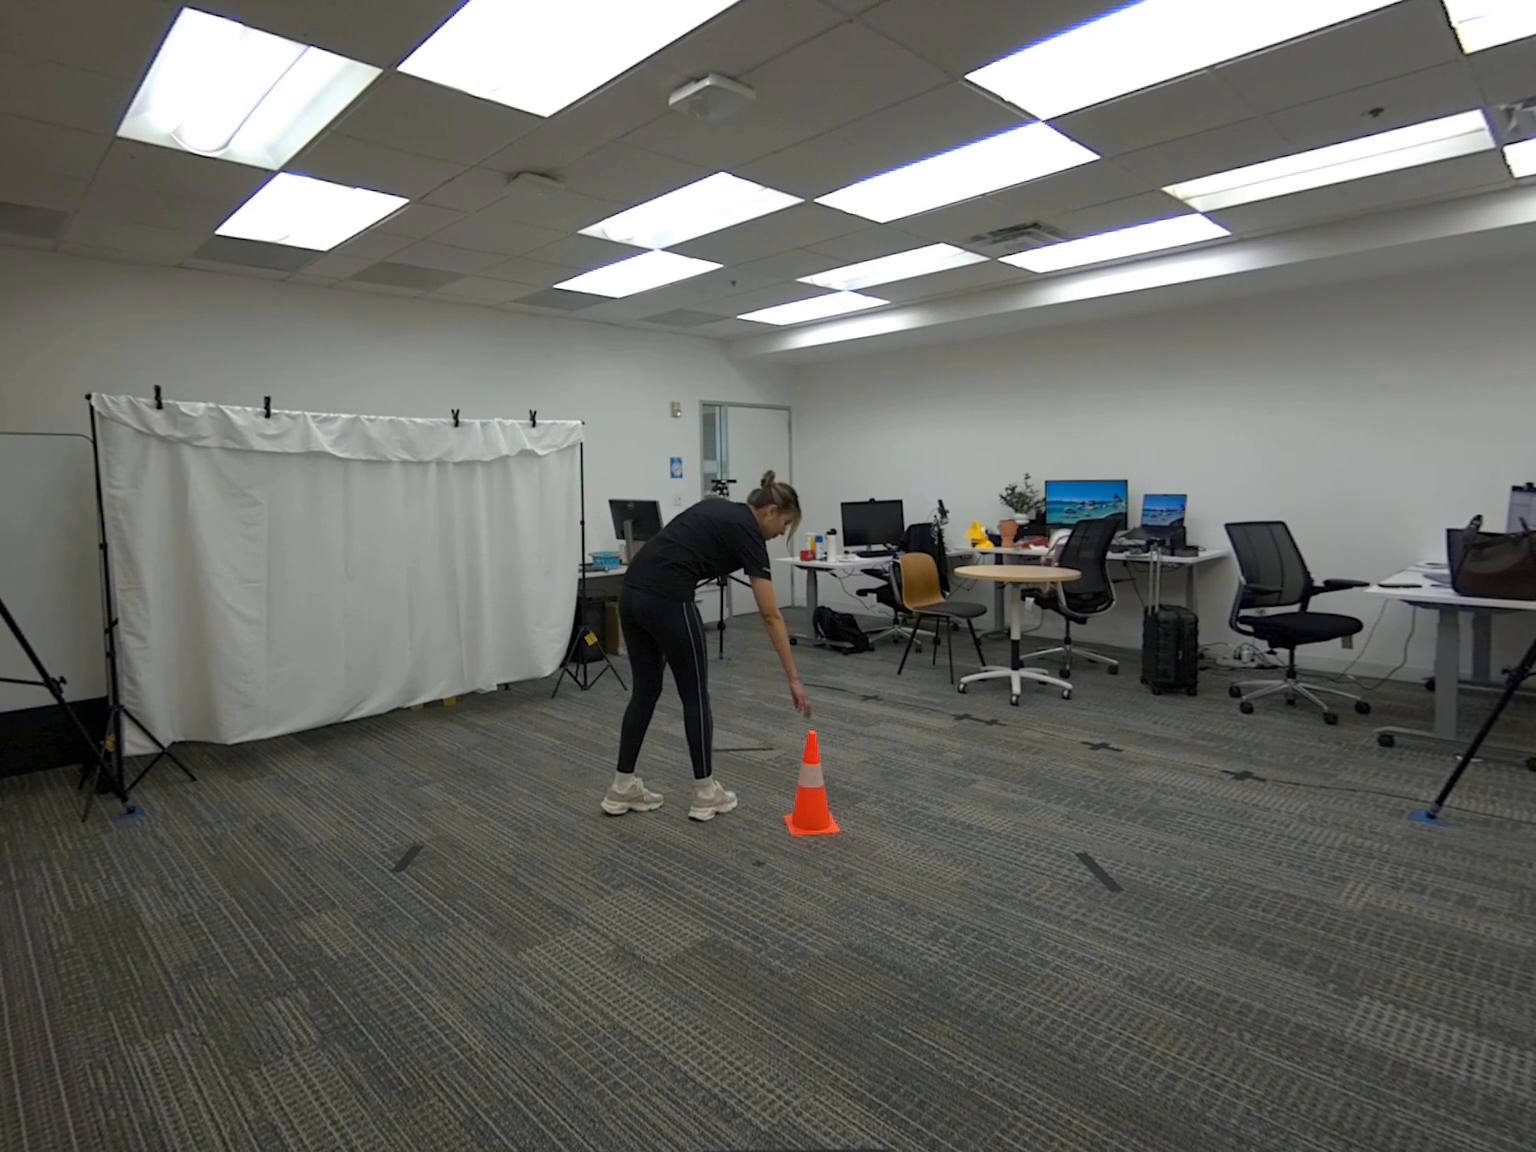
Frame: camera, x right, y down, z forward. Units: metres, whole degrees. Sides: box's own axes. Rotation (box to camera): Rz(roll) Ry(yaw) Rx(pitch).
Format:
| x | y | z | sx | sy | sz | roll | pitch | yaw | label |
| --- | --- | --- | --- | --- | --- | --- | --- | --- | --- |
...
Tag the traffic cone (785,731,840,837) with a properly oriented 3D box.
| x | y | z | sx | sy | sz | roll | pitch | yaw | label |
| --- | --- | --- | --- | --- | --- | --- | --- | --- | --- |
| 0.173 | 0.817 | 3.452 | 0.204 | 0.382 | 0.205 | -2 | 4 | -7 | traffic cone |
